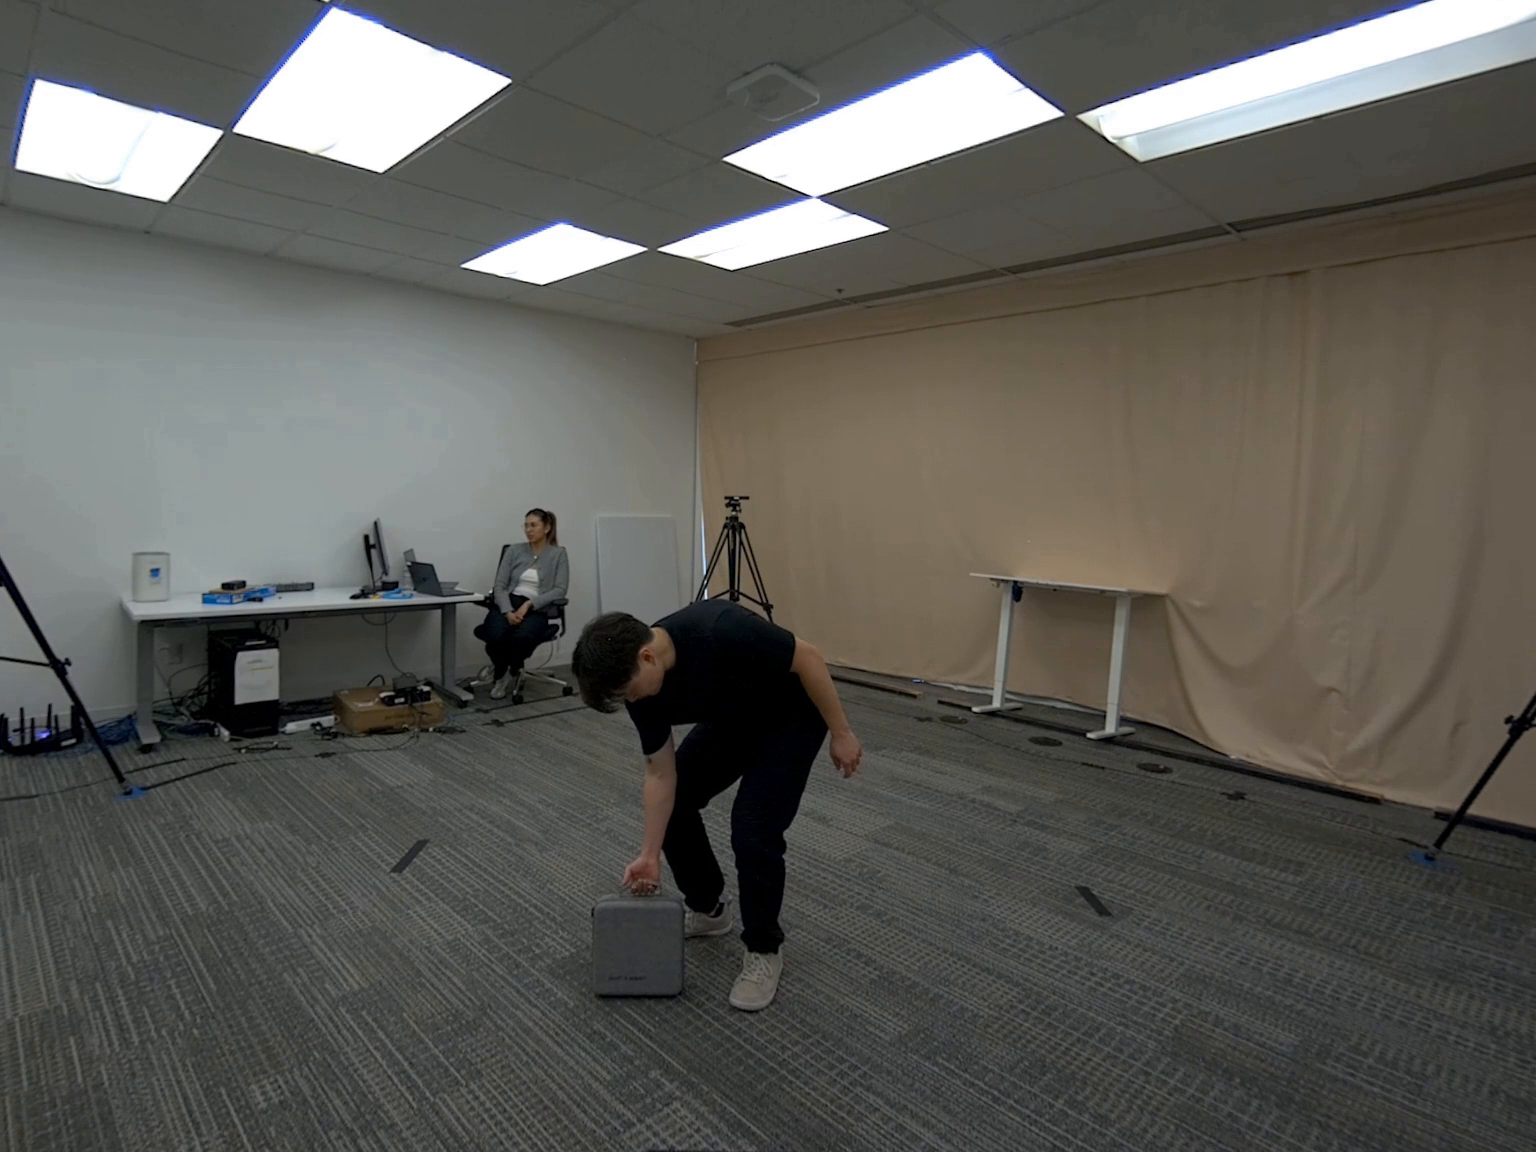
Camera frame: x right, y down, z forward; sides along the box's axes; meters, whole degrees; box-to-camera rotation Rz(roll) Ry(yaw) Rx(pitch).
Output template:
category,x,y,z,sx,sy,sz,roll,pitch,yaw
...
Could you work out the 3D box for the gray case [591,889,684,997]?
category,x,y,z,sx,sy,sz,roll,pitch,yaw
gray case,-0.369,1.031,2.373,0.257,0.261,0.104,0,-4,1
